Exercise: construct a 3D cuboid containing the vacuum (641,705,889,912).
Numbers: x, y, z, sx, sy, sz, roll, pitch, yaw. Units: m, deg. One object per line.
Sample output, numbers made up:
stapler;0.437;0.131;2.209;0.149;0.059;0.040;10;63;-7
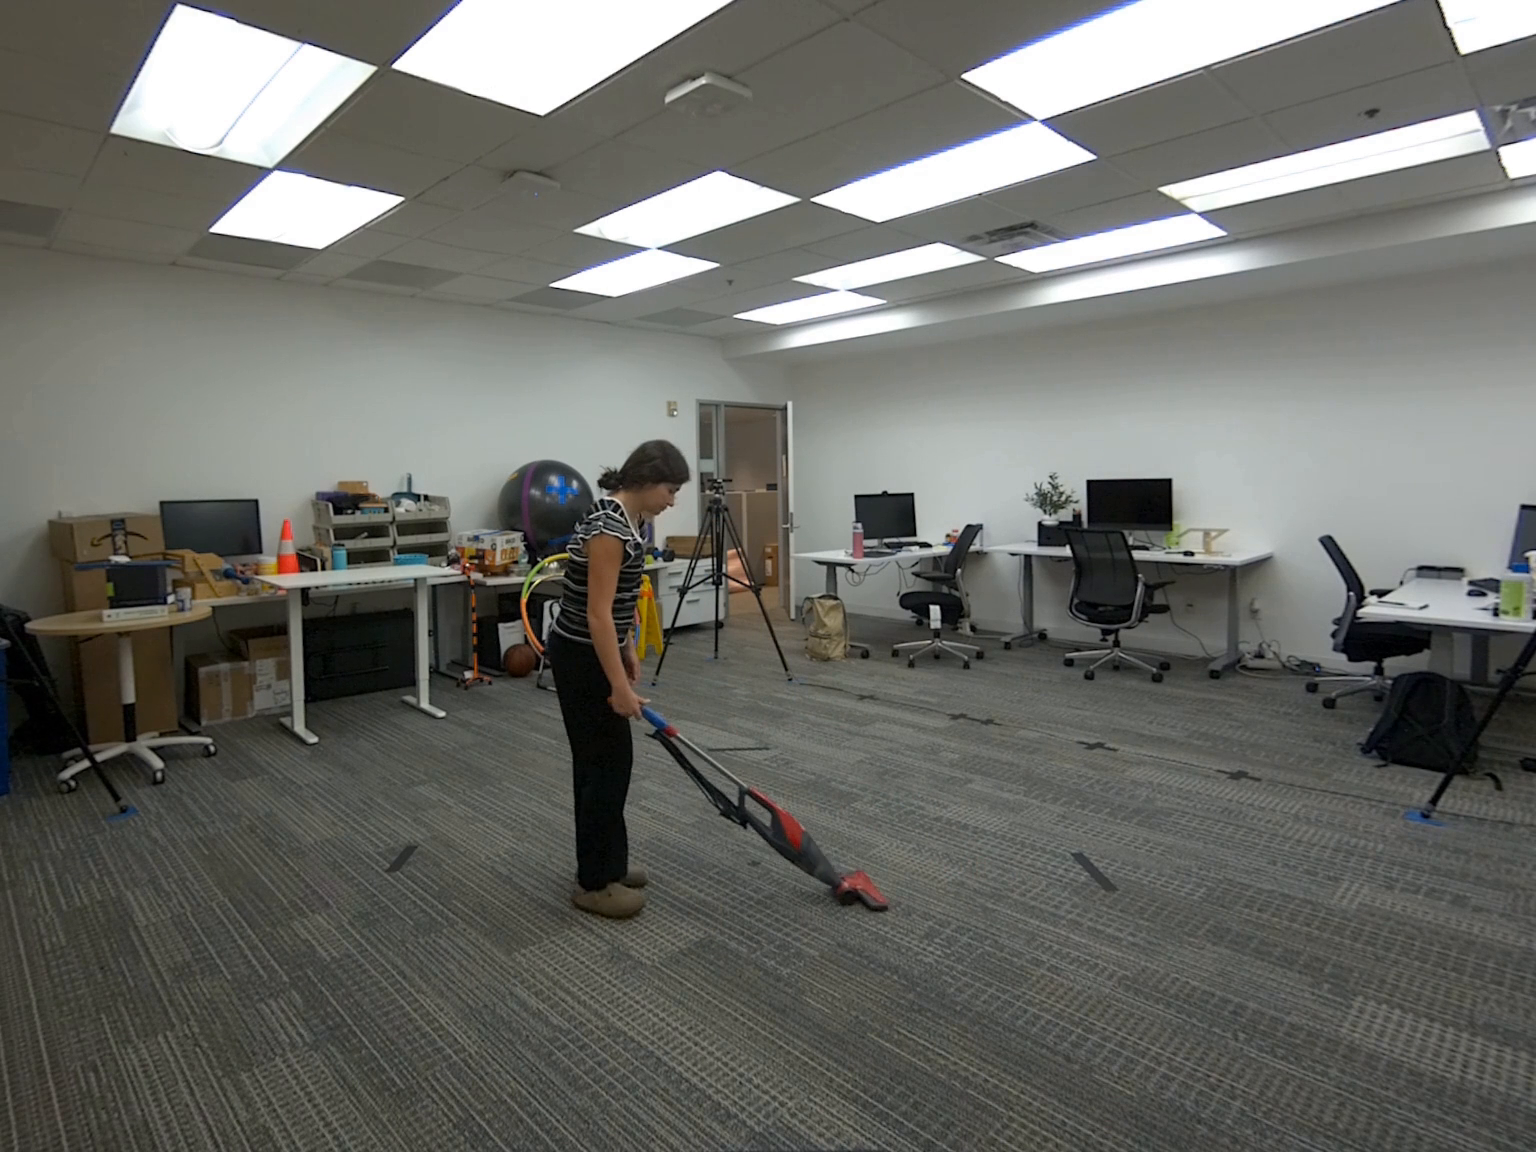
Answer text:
vacuum;-0.090;0.725;2.774;1.036;0.144;0.256;39;-6;-10
